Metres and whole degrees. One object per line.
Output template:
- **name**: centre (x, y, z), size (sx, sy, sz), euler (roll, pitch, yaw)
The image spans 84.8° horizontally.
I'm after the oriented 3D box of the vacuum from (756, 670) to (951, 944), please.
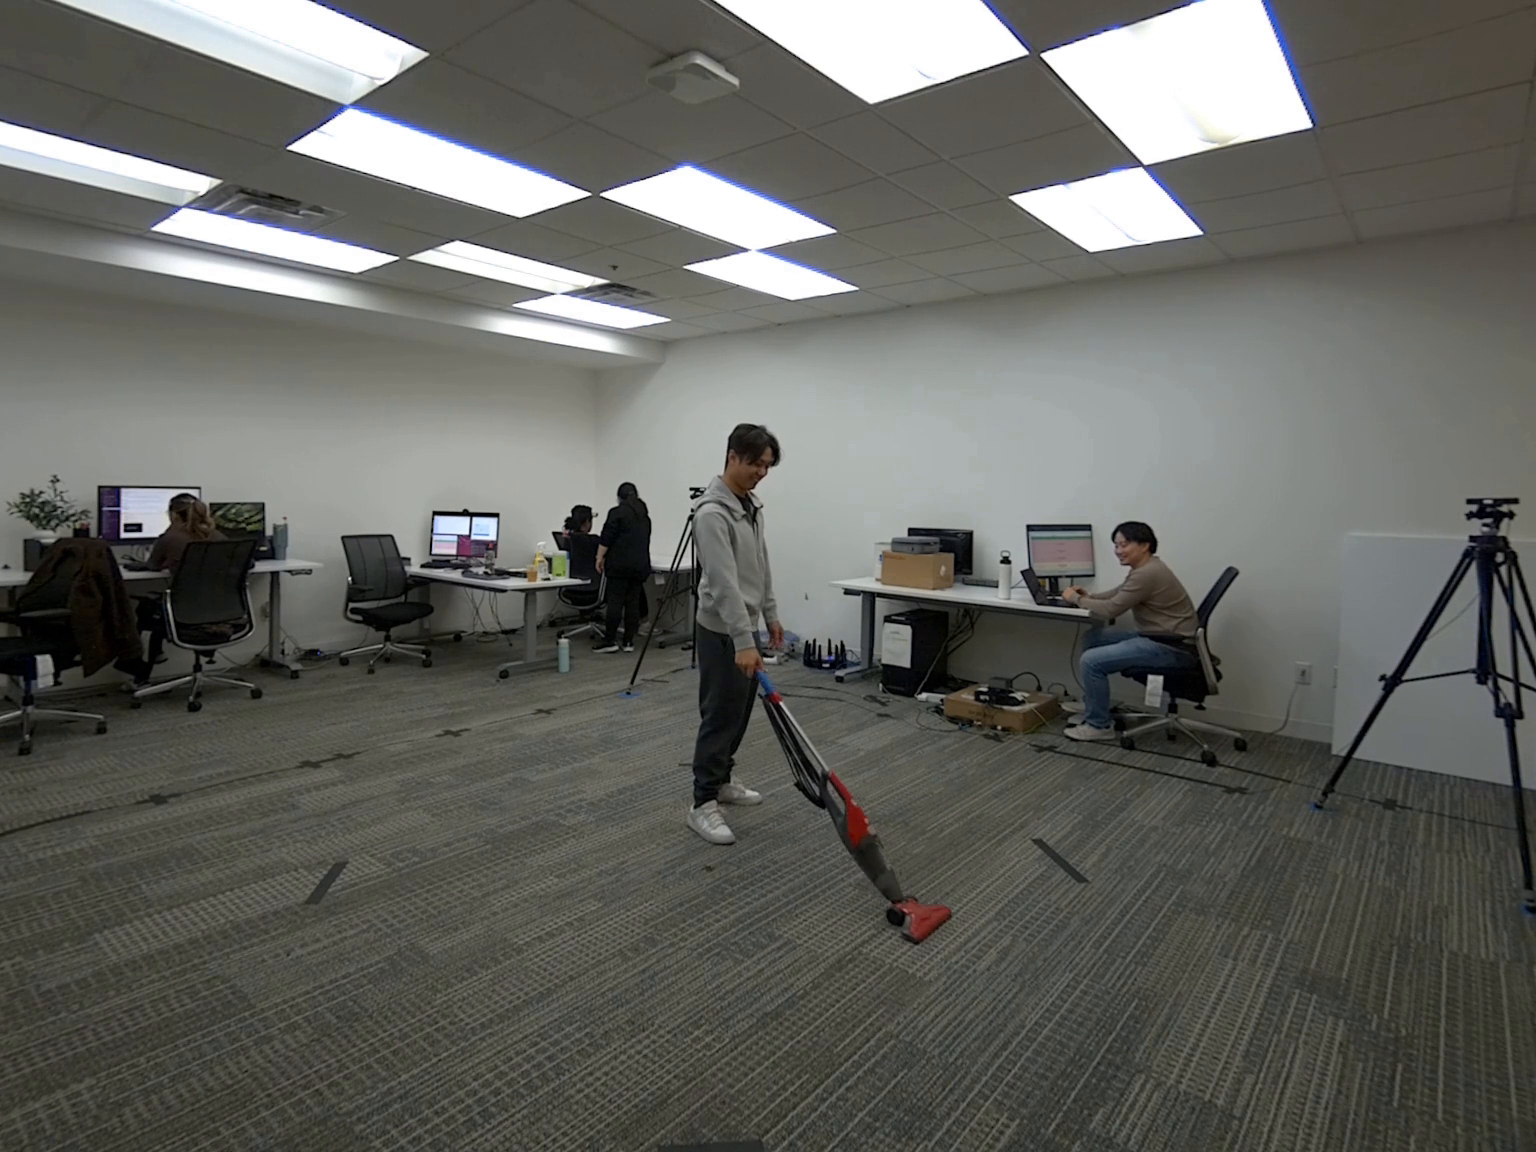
- **vacuum**: centre (0.182, 0.719, 2.985), size (0.244, 0.144, 1.084), euler (4, 44, -55)
